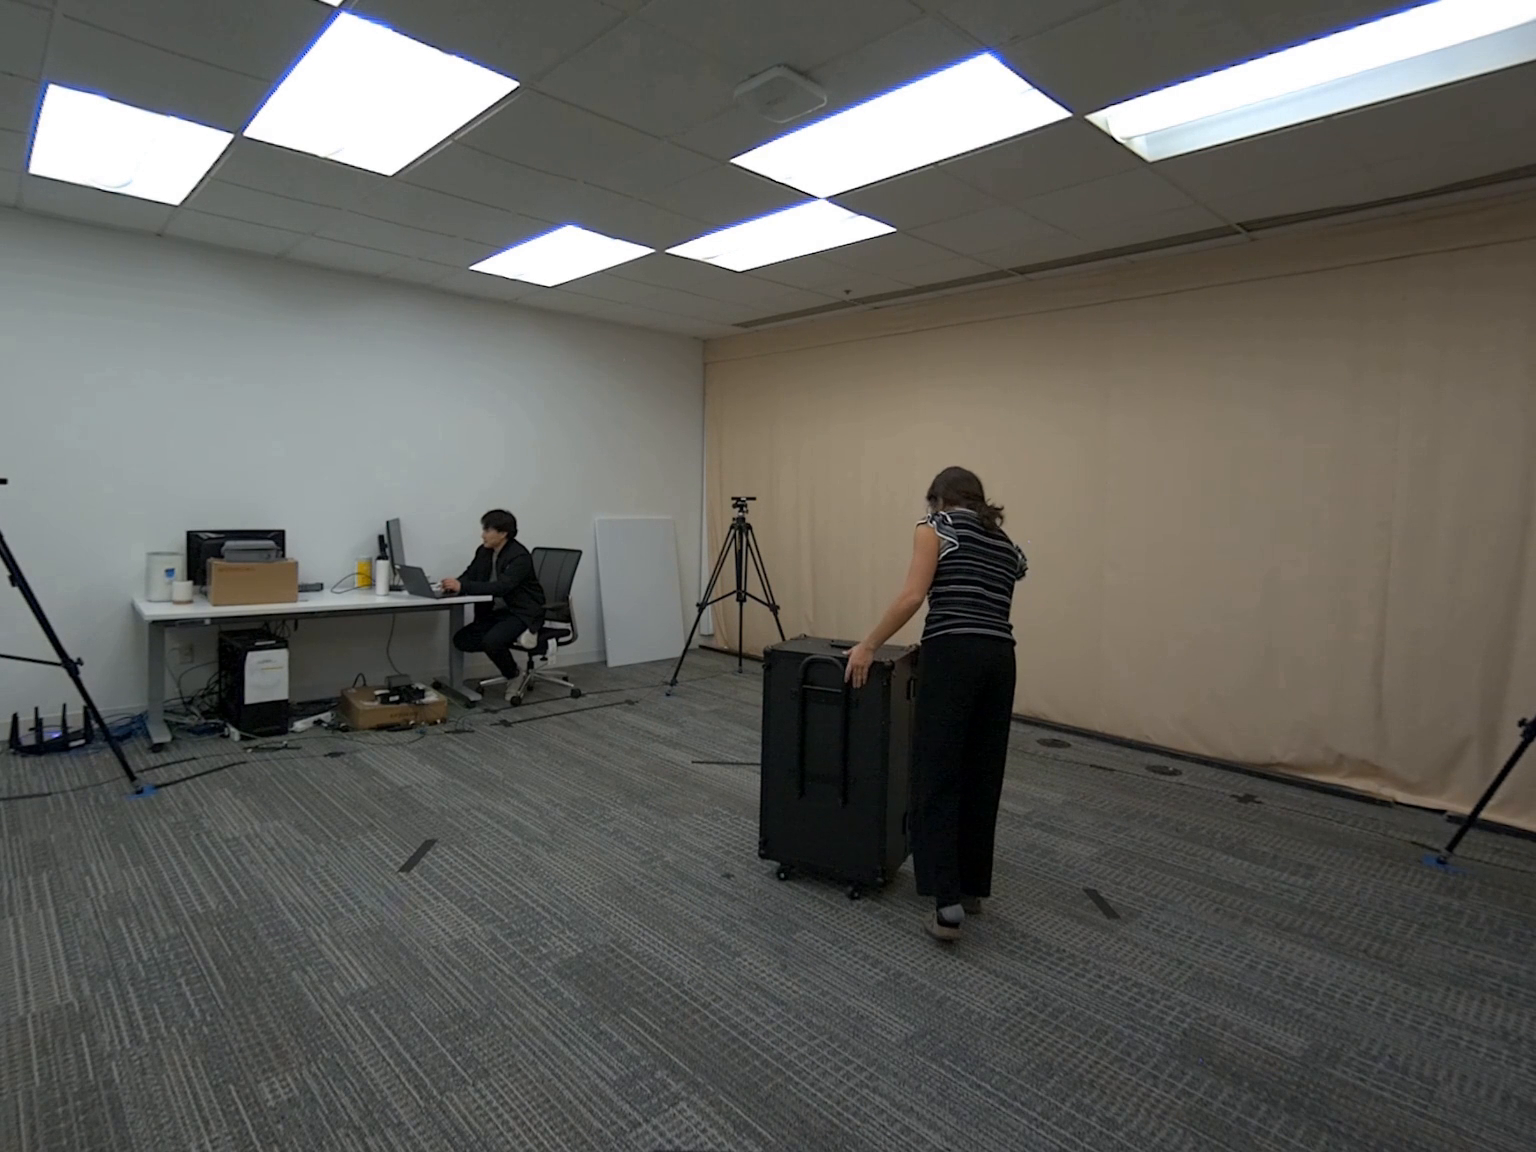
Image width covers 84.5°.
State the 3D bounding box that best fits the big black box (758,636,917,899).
[{"bbox_3d":[0.248,0.688,3.124,0.532,0.859,0.389,4,4,26],"label":"big black box"}]
